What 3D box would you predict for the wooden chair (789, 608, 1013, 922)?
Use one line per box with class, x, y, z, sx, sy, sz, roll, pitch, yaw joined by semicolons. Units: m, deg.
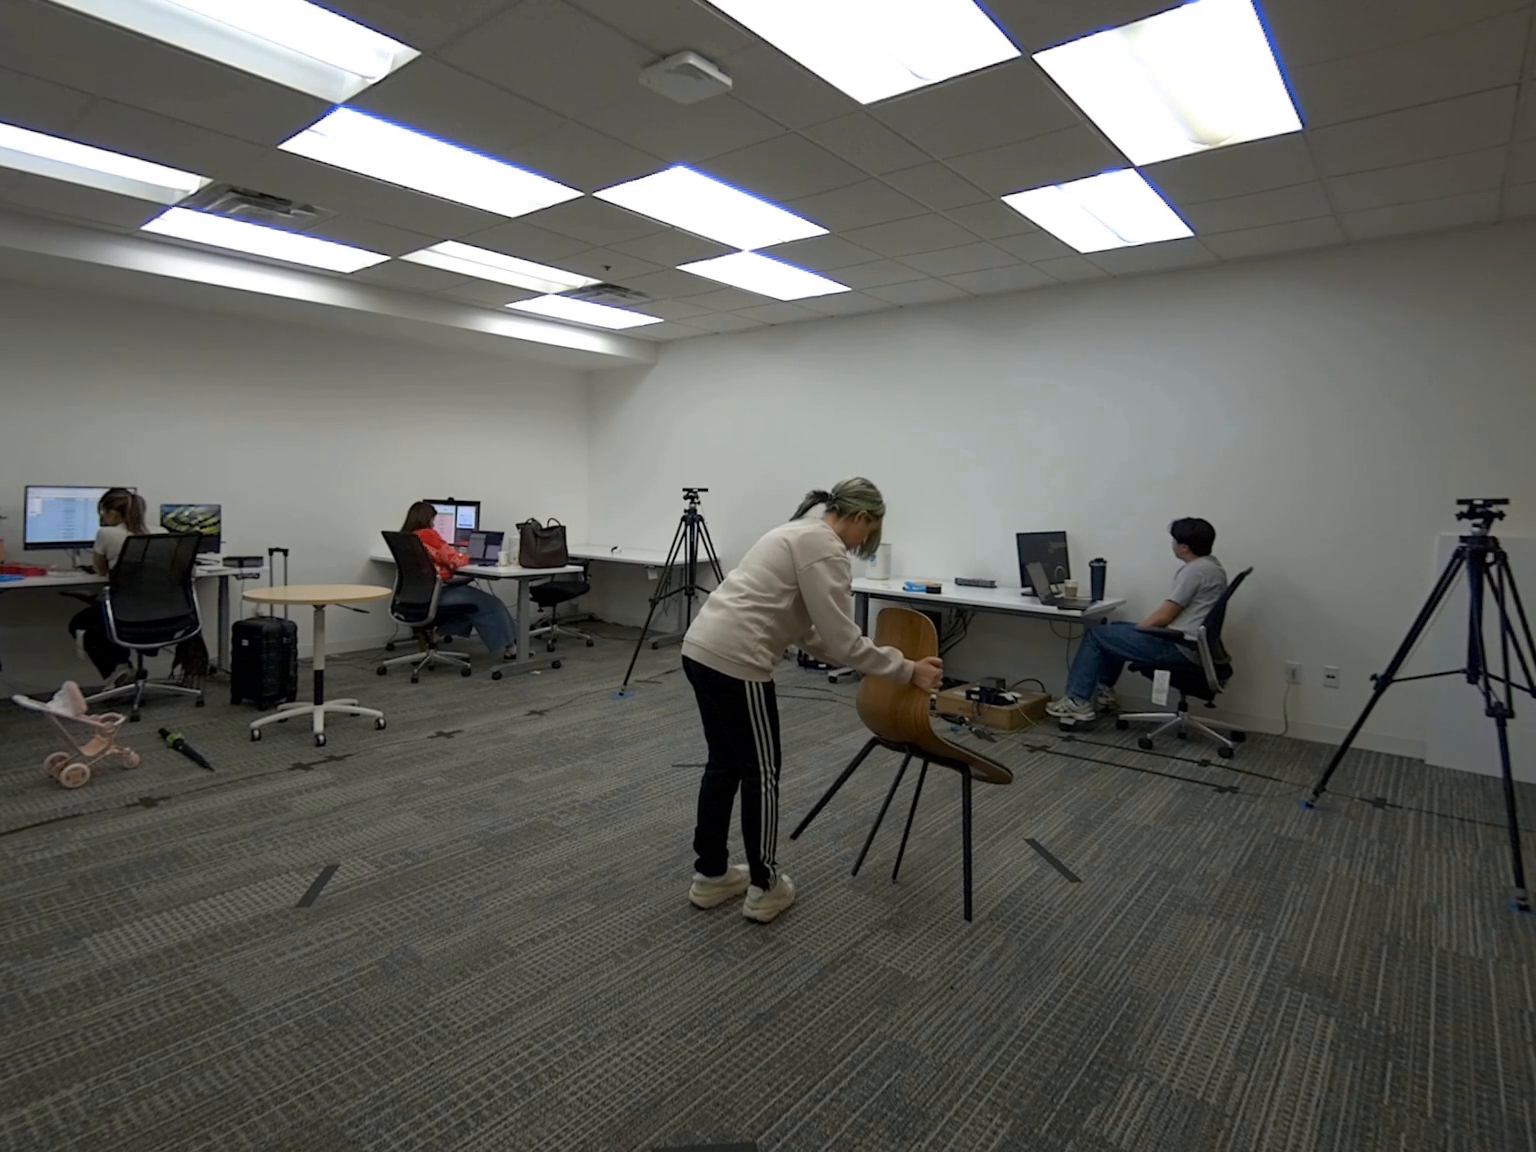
wooden chair;0.505;0.606;2.881;0.511;0.883;0.486;22;-12;-18
